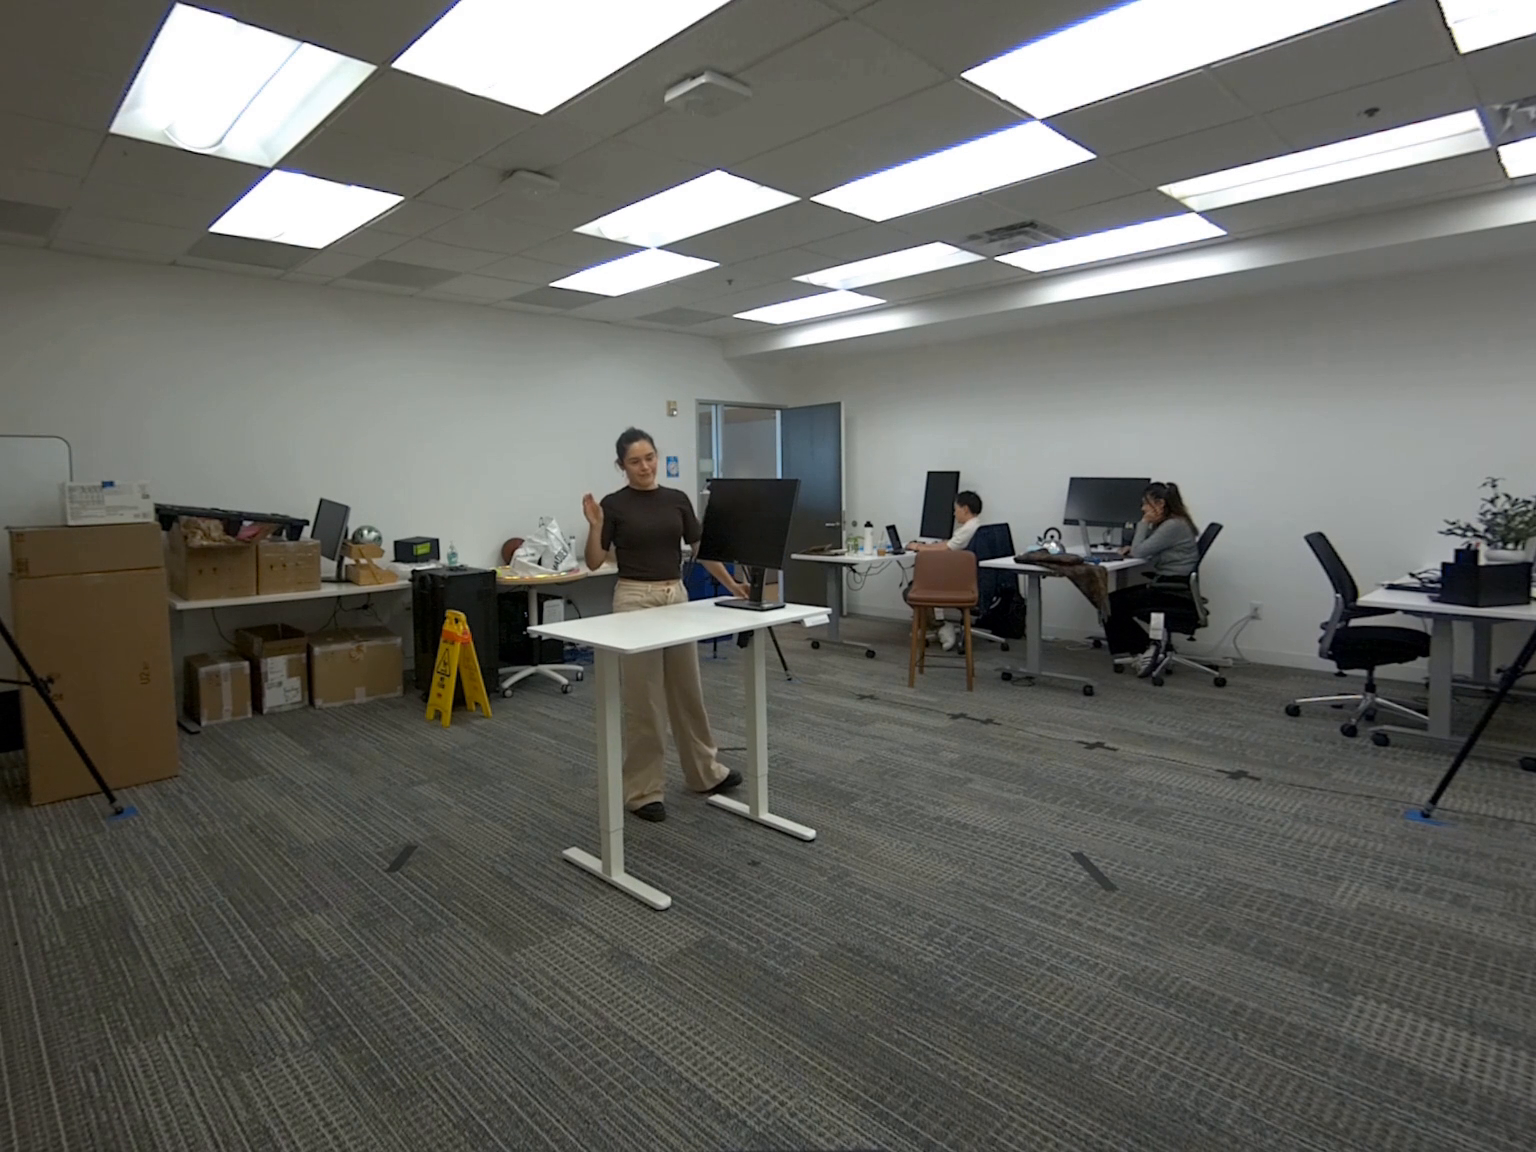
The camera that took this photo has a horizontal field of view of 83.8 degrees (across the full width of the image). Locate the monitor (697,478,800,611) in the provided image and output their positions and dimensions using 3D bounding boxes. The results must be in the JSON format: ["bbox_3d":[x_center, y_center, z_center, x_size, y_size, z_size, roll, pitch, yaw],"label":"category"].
[{"bbox_3d":[-0.054,-0.131,3.449,0.182,0.521,0.555,-1,4,-38],"label":"monitor"}]
